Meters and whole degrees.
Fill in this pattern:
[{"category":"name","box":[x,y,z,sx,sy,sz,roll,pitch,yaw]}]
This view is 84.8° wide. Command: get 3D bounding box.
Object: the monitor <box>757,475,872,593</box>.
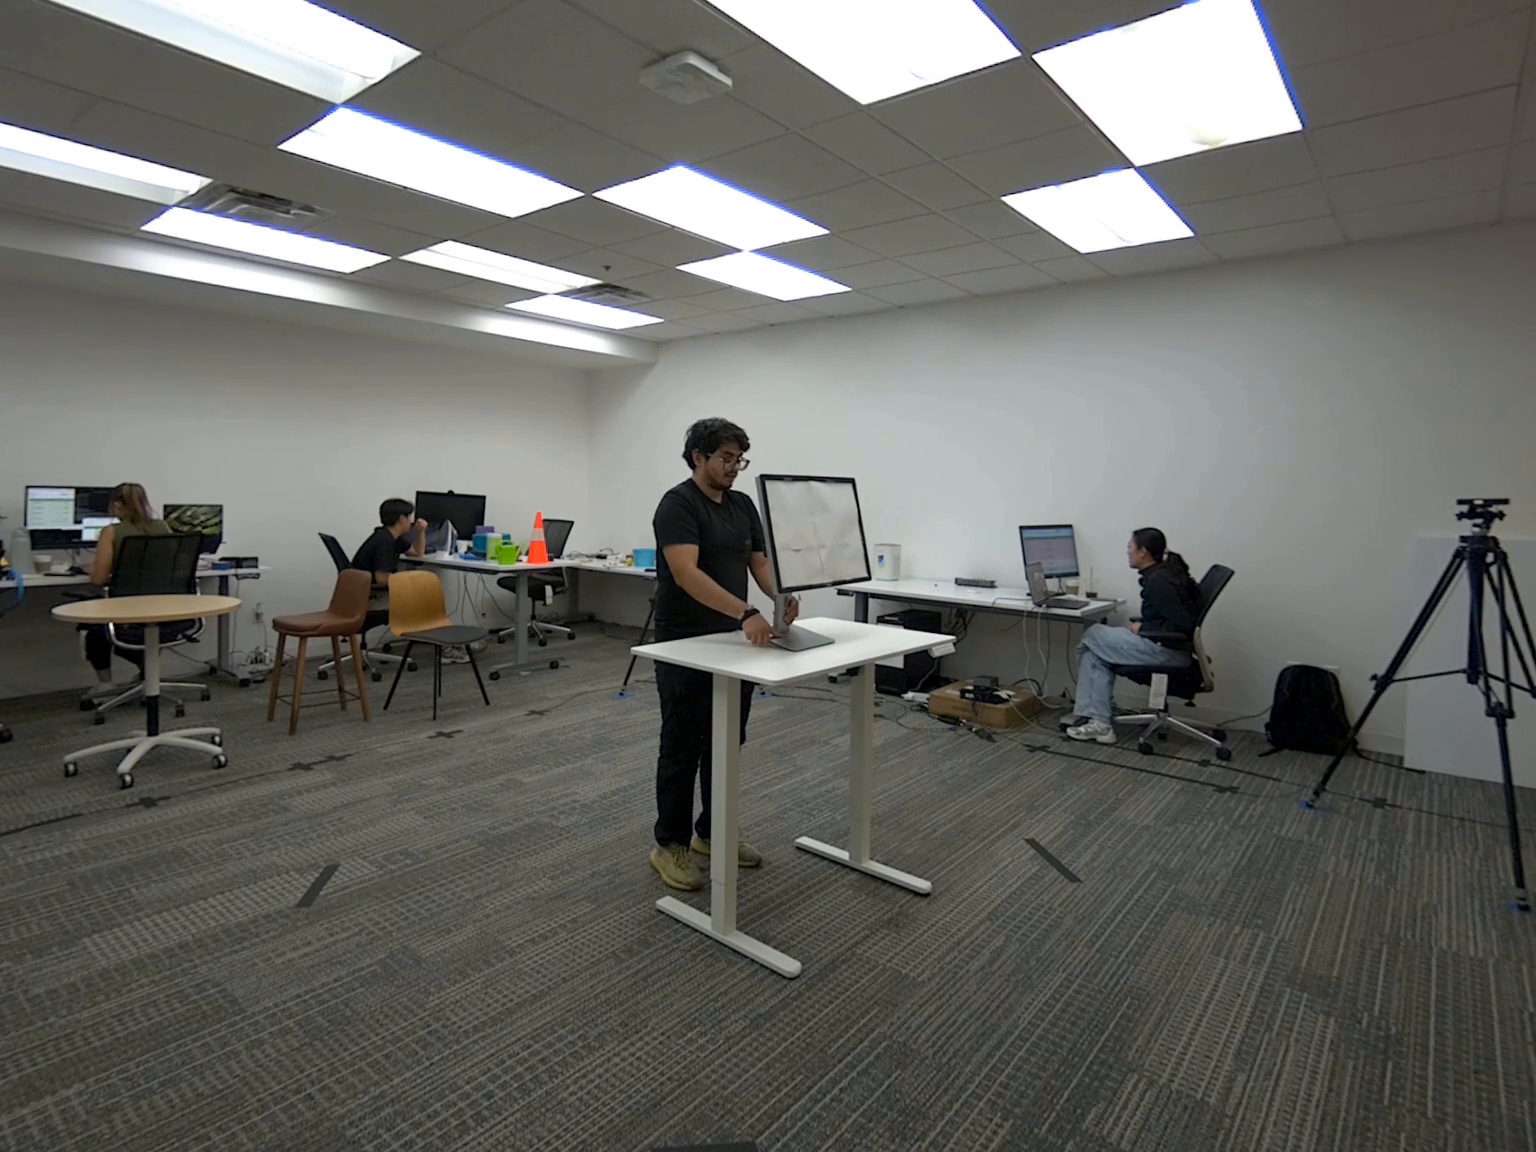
[{"category":"monitor","box":[0.092,-0.057,2.796,0.216,0.553,0.549,0,3,36]}]
